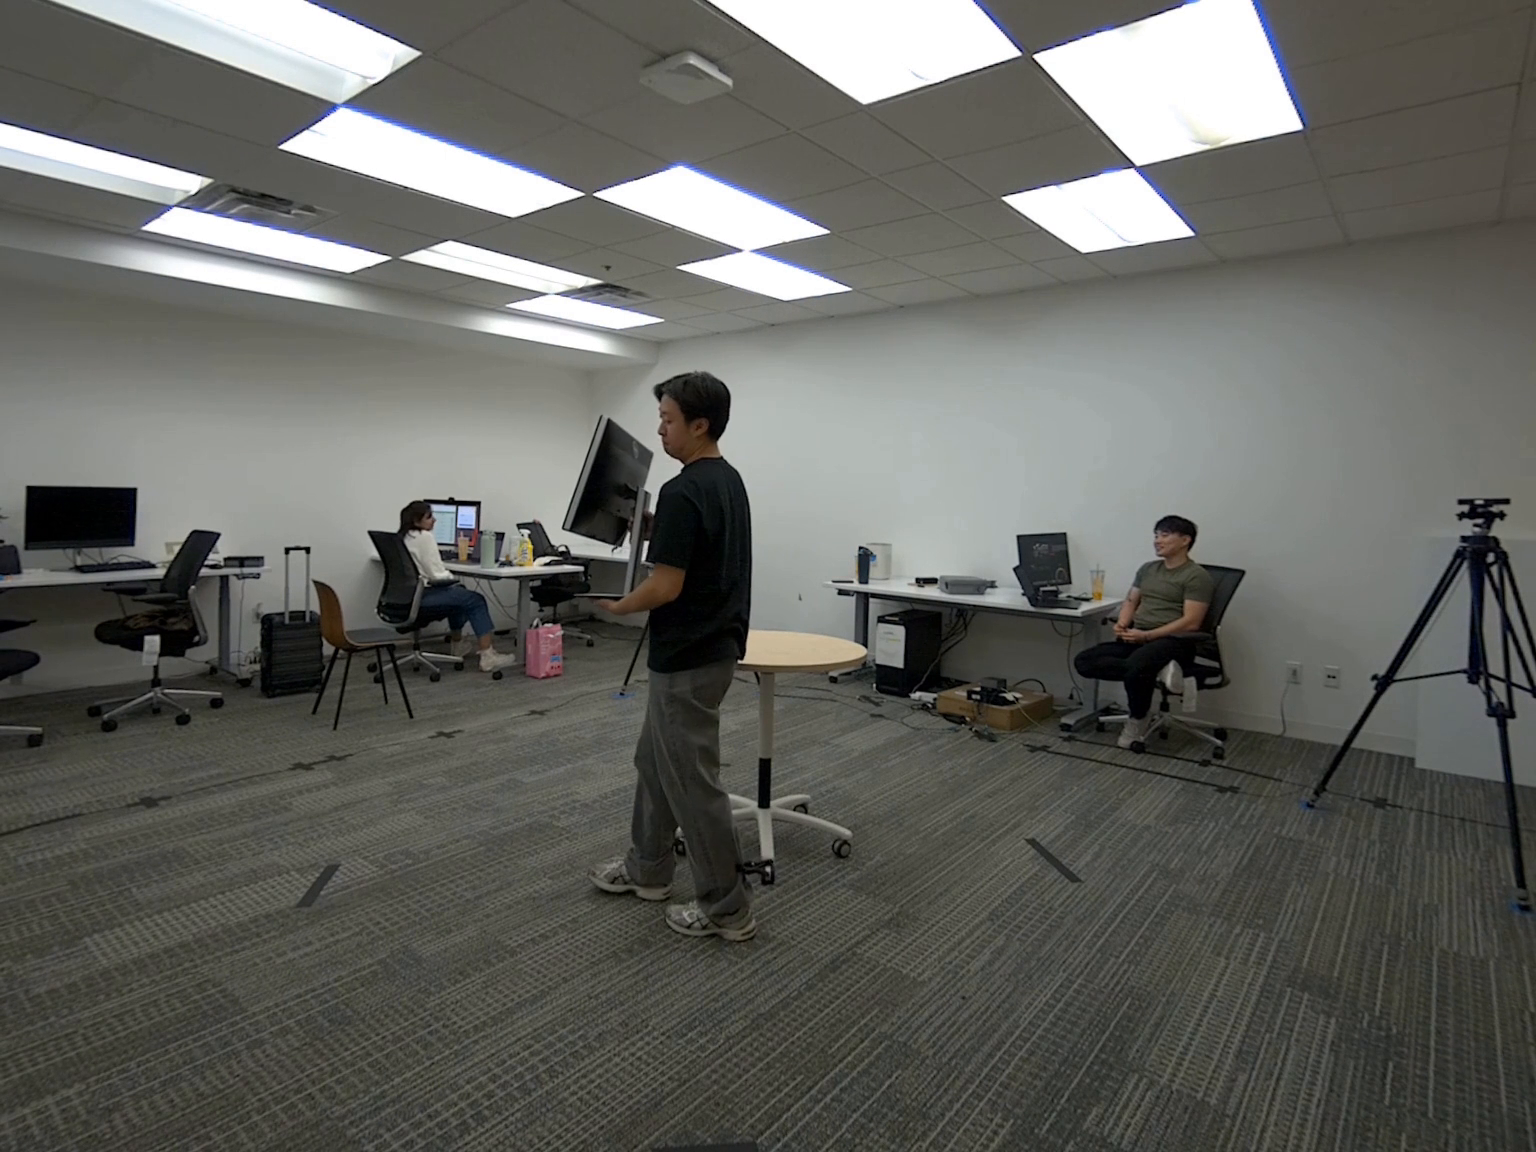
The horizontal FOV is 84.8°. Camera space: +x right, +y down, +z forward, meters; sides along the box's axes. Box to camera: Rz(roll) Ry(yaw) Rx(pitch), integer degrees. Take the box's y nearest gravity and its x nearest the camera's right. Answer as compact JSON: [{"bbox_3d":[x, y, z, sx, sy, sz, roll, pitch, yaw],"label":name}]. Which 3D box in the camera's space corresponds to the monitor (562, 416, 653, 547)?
[{"bbox_3d":[-0.501,-0.185,2.777,0.225,0.570,0.552,1,-6,9],"label":"monitor"}]
